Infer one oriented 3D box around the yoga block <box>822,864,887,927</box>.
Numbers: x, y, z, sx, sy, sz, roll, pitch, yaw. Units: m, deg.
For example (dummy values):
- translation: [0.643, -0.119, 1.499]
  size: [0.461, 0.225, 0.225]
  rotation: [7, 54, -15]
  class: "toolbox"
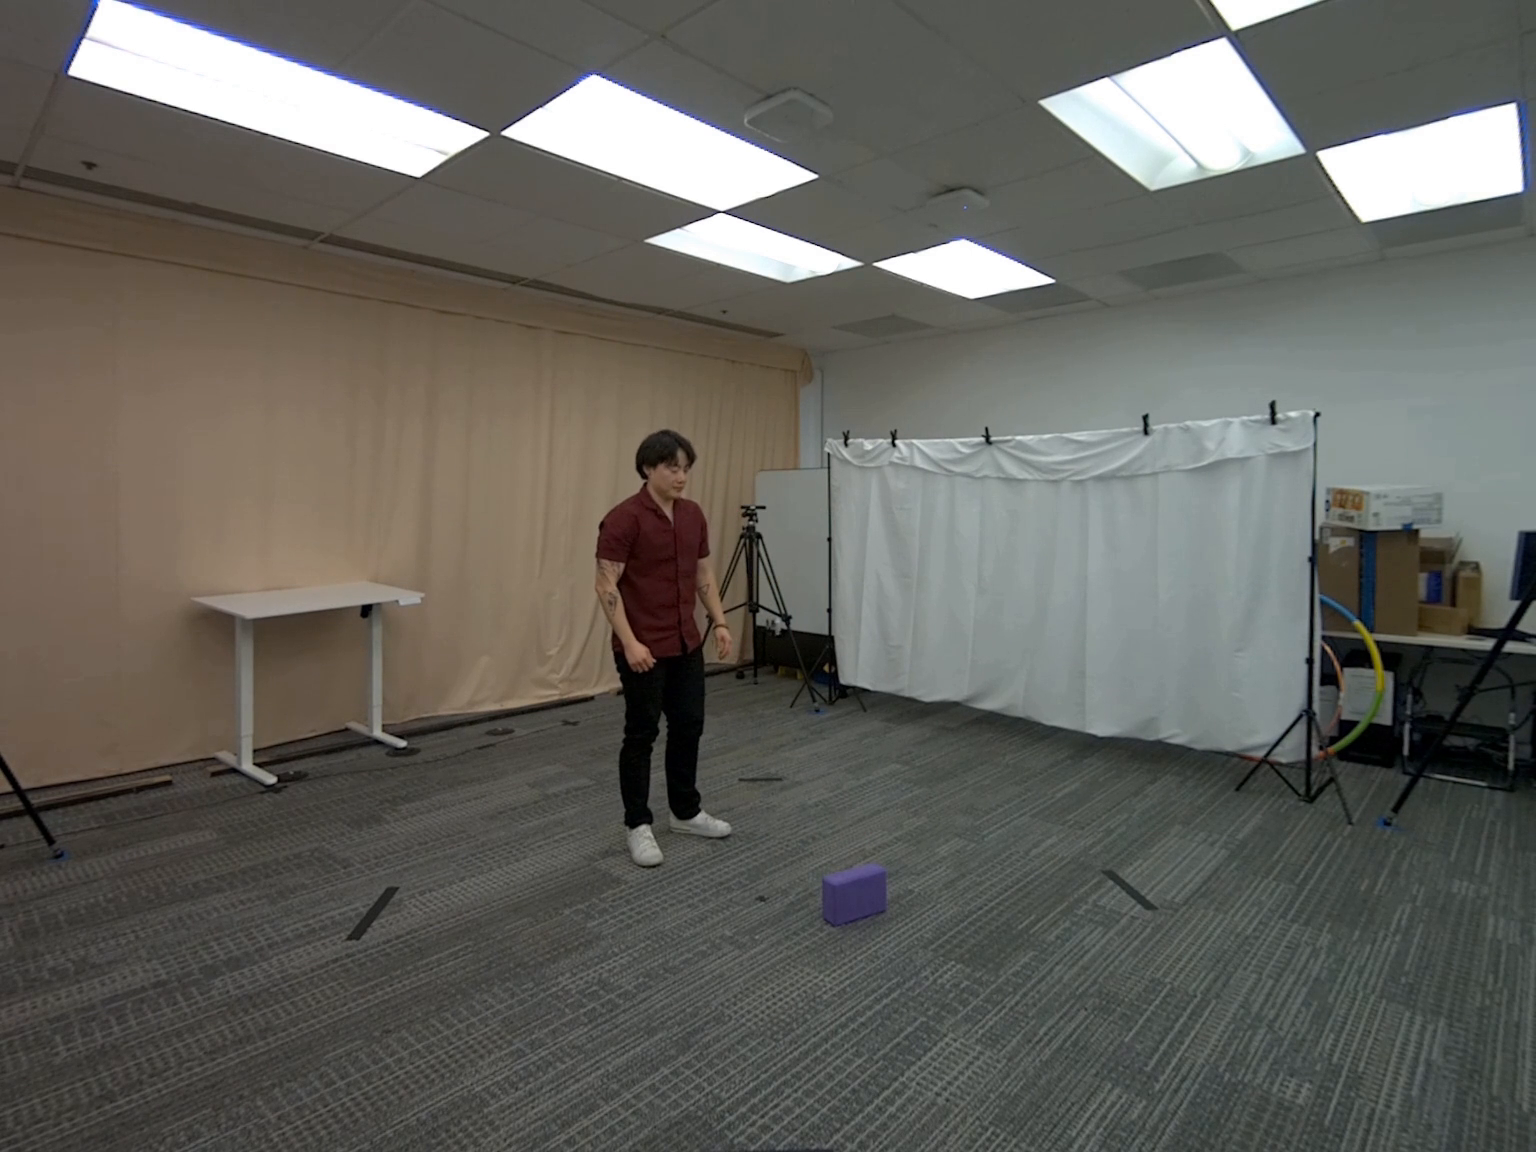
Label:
- translation: [0.299, 1.077, 2.857]
  size: [0.223, 0.148, 0.078]
  rotation: [-3, 4, -30]
  class: "yoga block"
